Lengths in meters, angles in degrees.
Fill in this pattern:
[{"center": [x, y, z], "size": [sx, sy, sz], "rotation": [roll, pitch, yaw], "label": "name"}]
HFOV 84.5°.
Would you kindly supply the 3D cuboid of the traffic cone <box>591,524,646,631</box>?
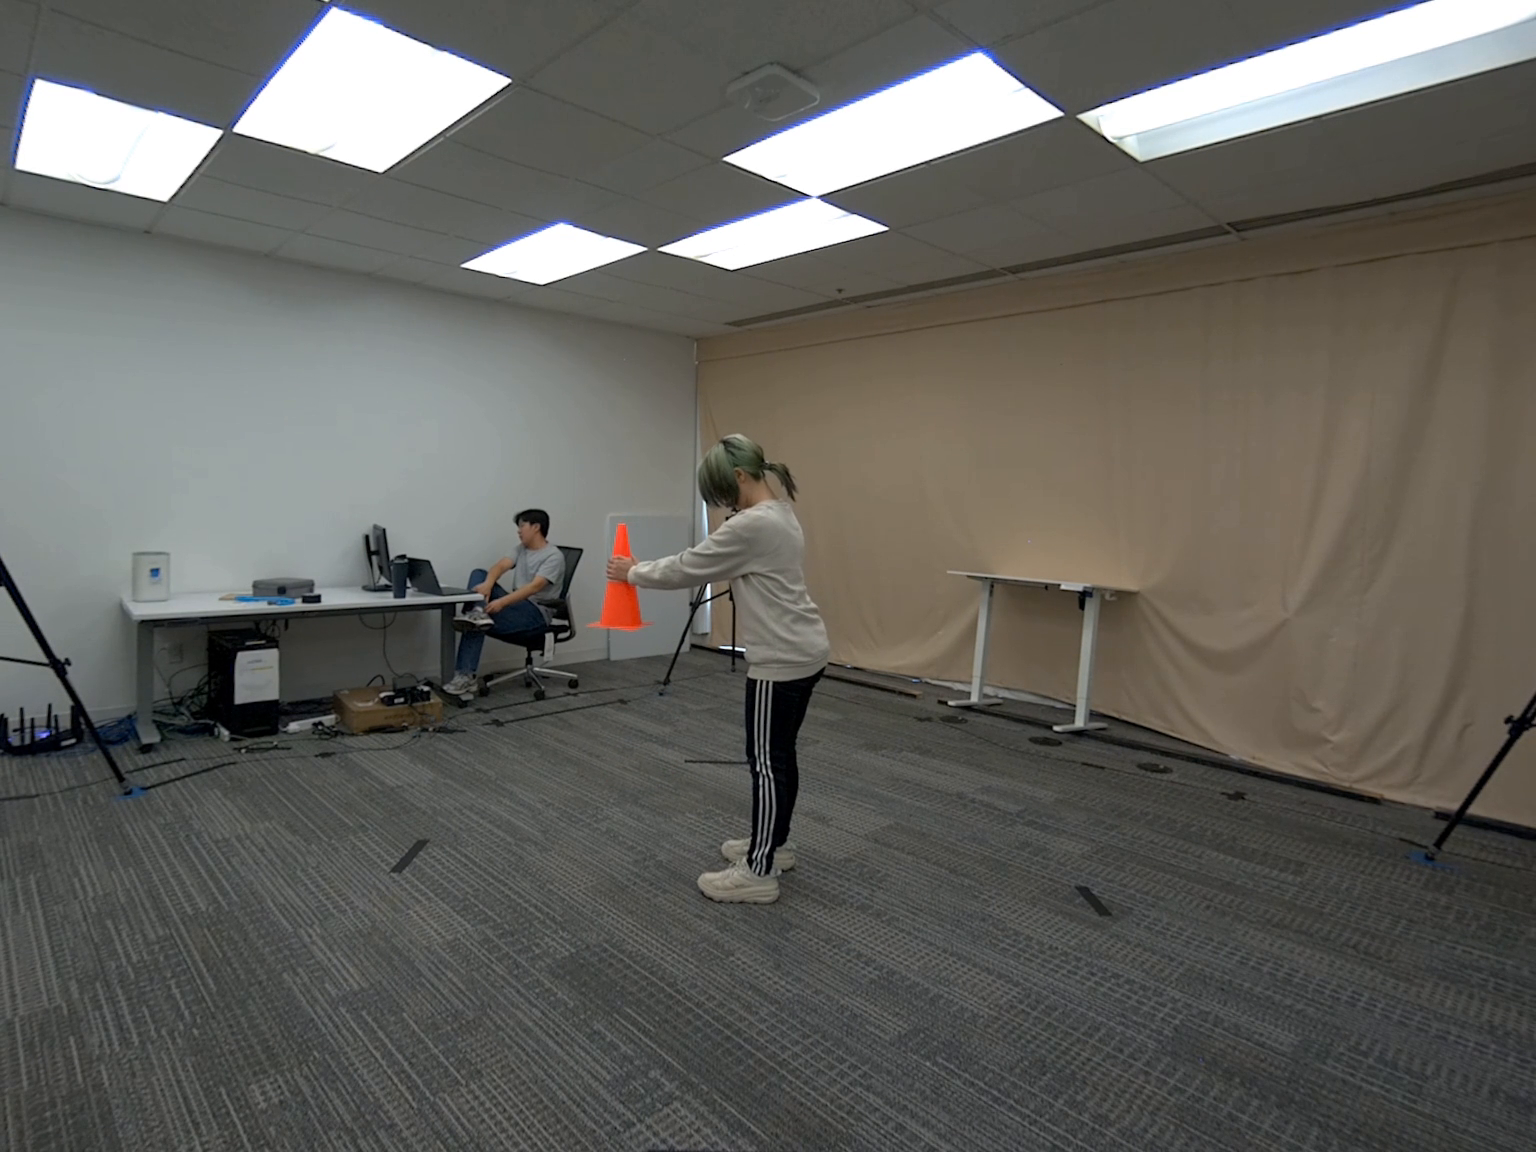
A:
[{"center": [-0.554, -0.003, 3.186], "size": [0.207, 0.383, 0.202], "rotation": [1, 3, 21], "label": "traffic cone"}]
